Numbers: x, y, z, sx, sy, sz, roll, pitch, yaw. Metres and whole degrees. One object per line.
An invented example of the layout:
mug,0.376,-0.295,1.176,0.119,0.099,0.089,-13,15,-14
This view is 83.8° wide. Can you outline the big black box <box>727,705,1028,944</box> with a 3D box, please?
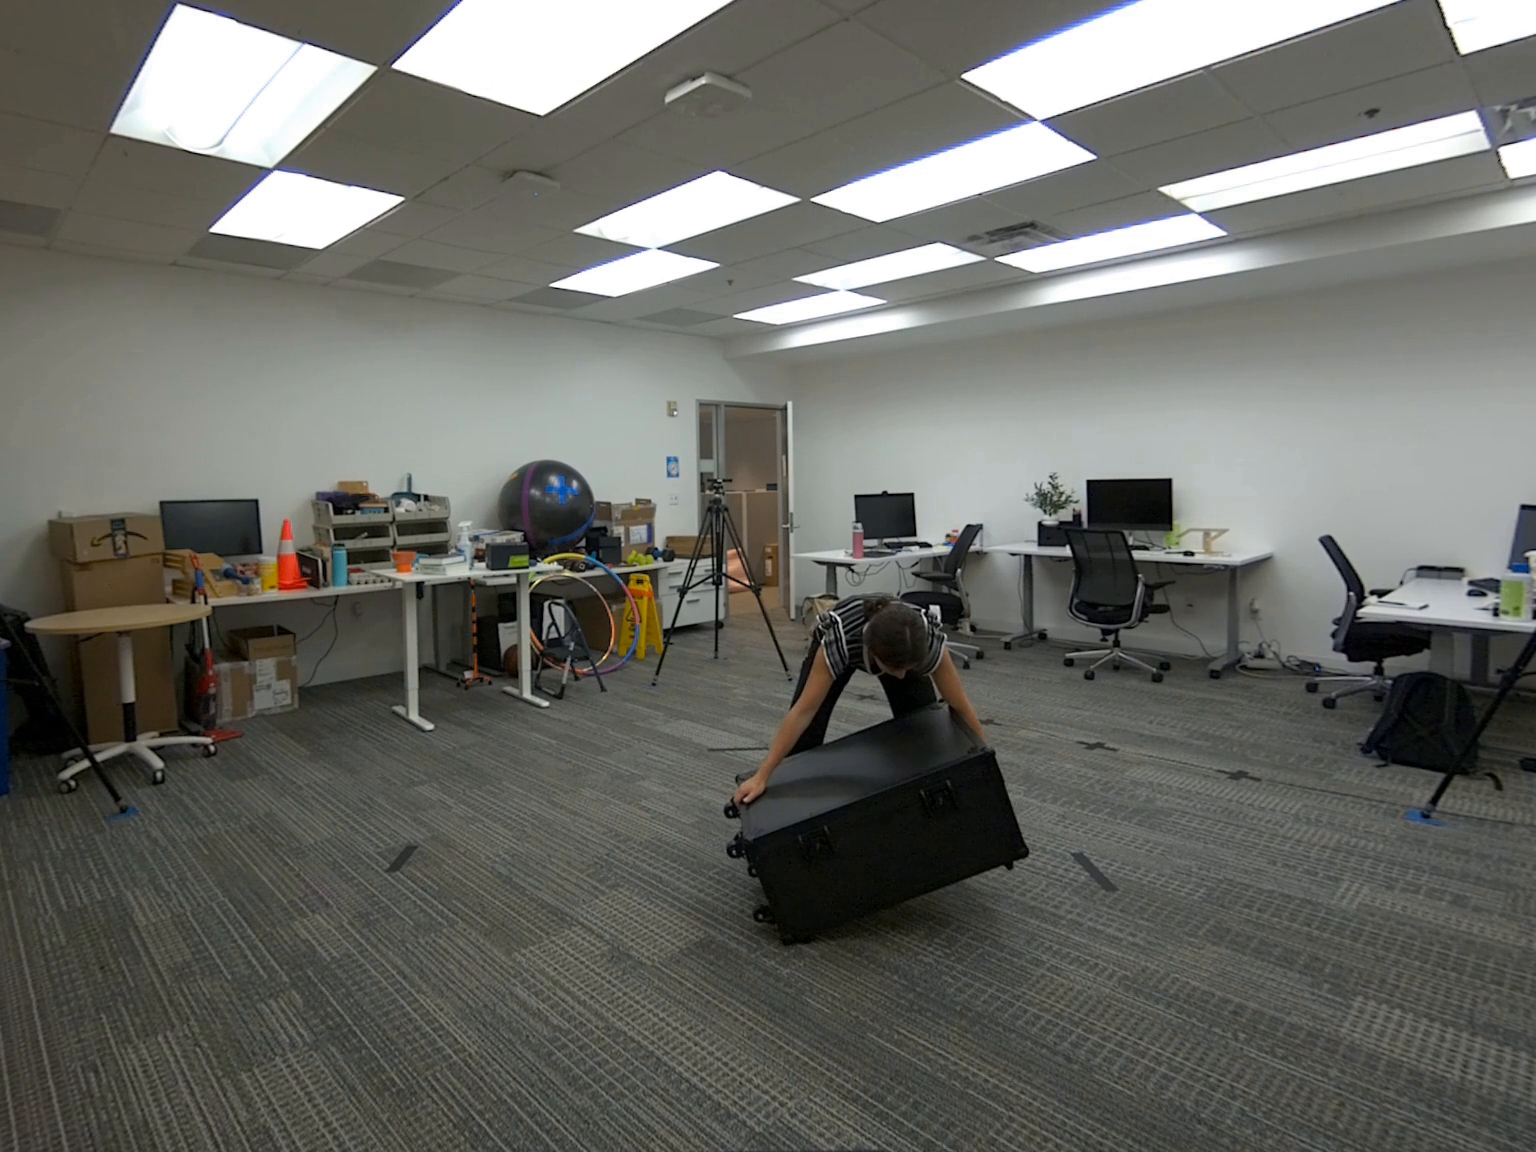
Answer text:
big black box,0.316,0.789,2.751,0.862,0.393,0.525,-19,9,2
